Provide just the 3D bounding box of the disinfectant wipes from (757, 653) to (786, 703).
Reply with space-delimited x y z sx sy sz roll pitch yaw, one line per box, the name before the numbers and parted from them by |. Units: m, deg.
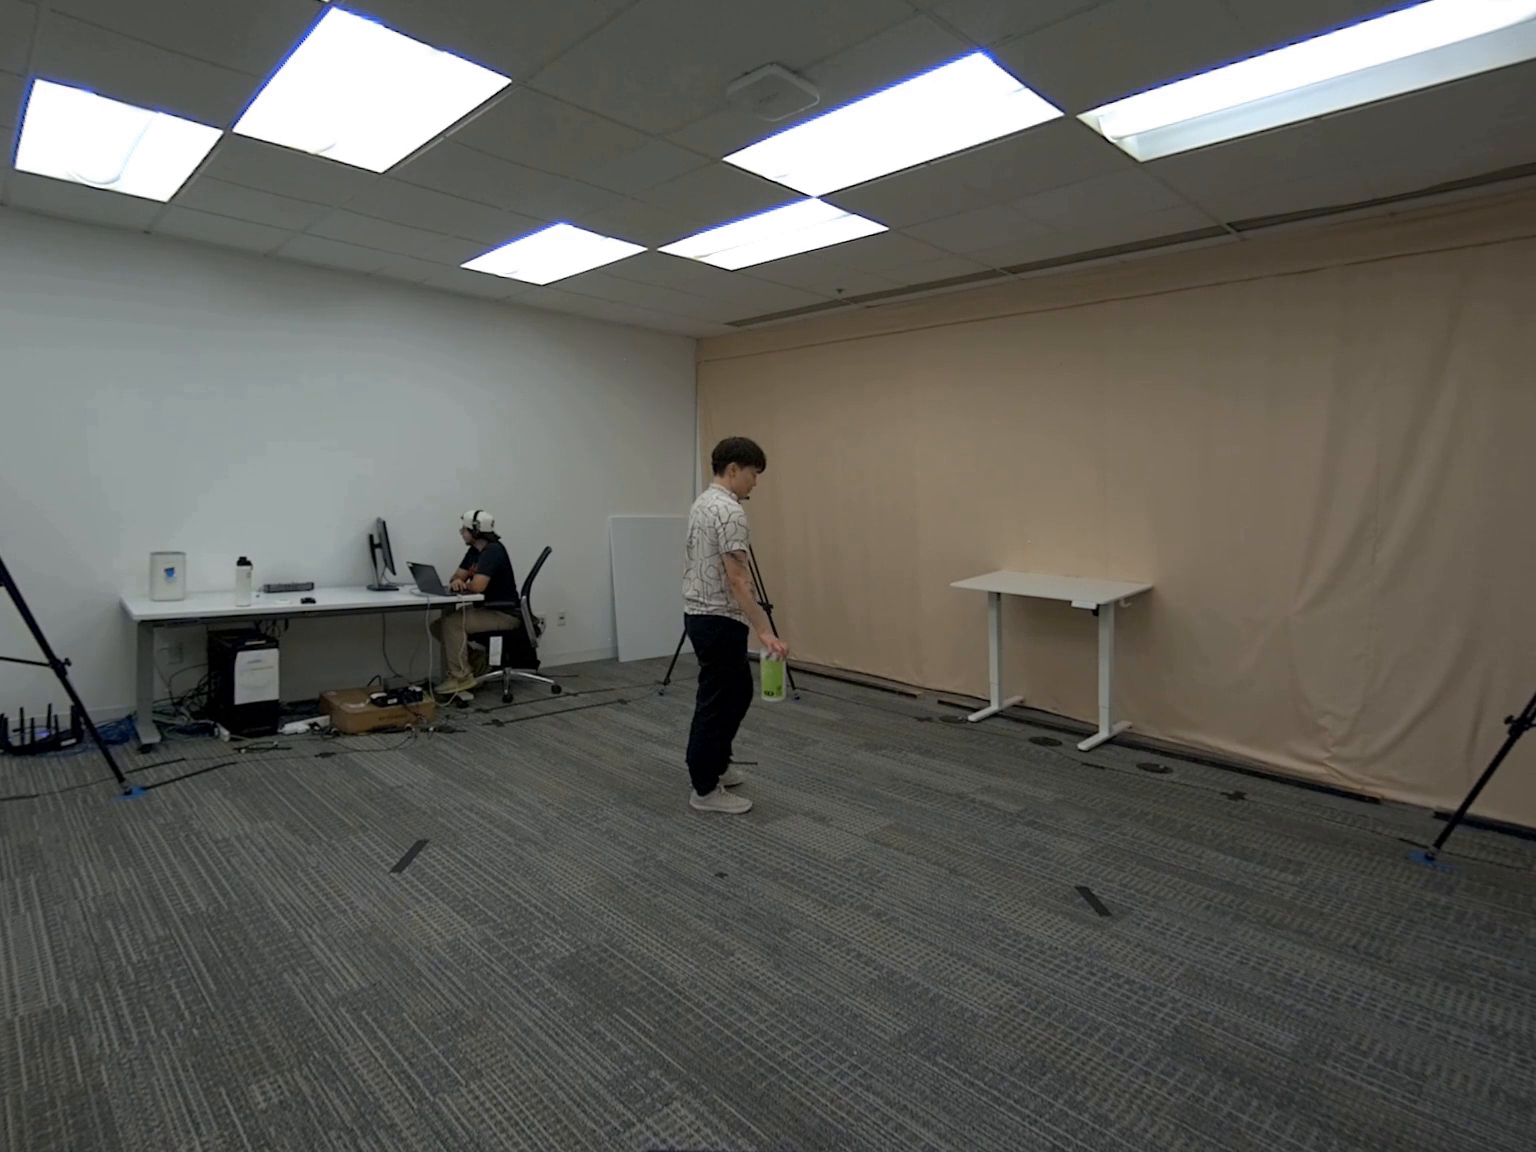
disinfectant wipes | 0.000 0.419 3.566 0.118 0.216 0.119 -2 11 -1
